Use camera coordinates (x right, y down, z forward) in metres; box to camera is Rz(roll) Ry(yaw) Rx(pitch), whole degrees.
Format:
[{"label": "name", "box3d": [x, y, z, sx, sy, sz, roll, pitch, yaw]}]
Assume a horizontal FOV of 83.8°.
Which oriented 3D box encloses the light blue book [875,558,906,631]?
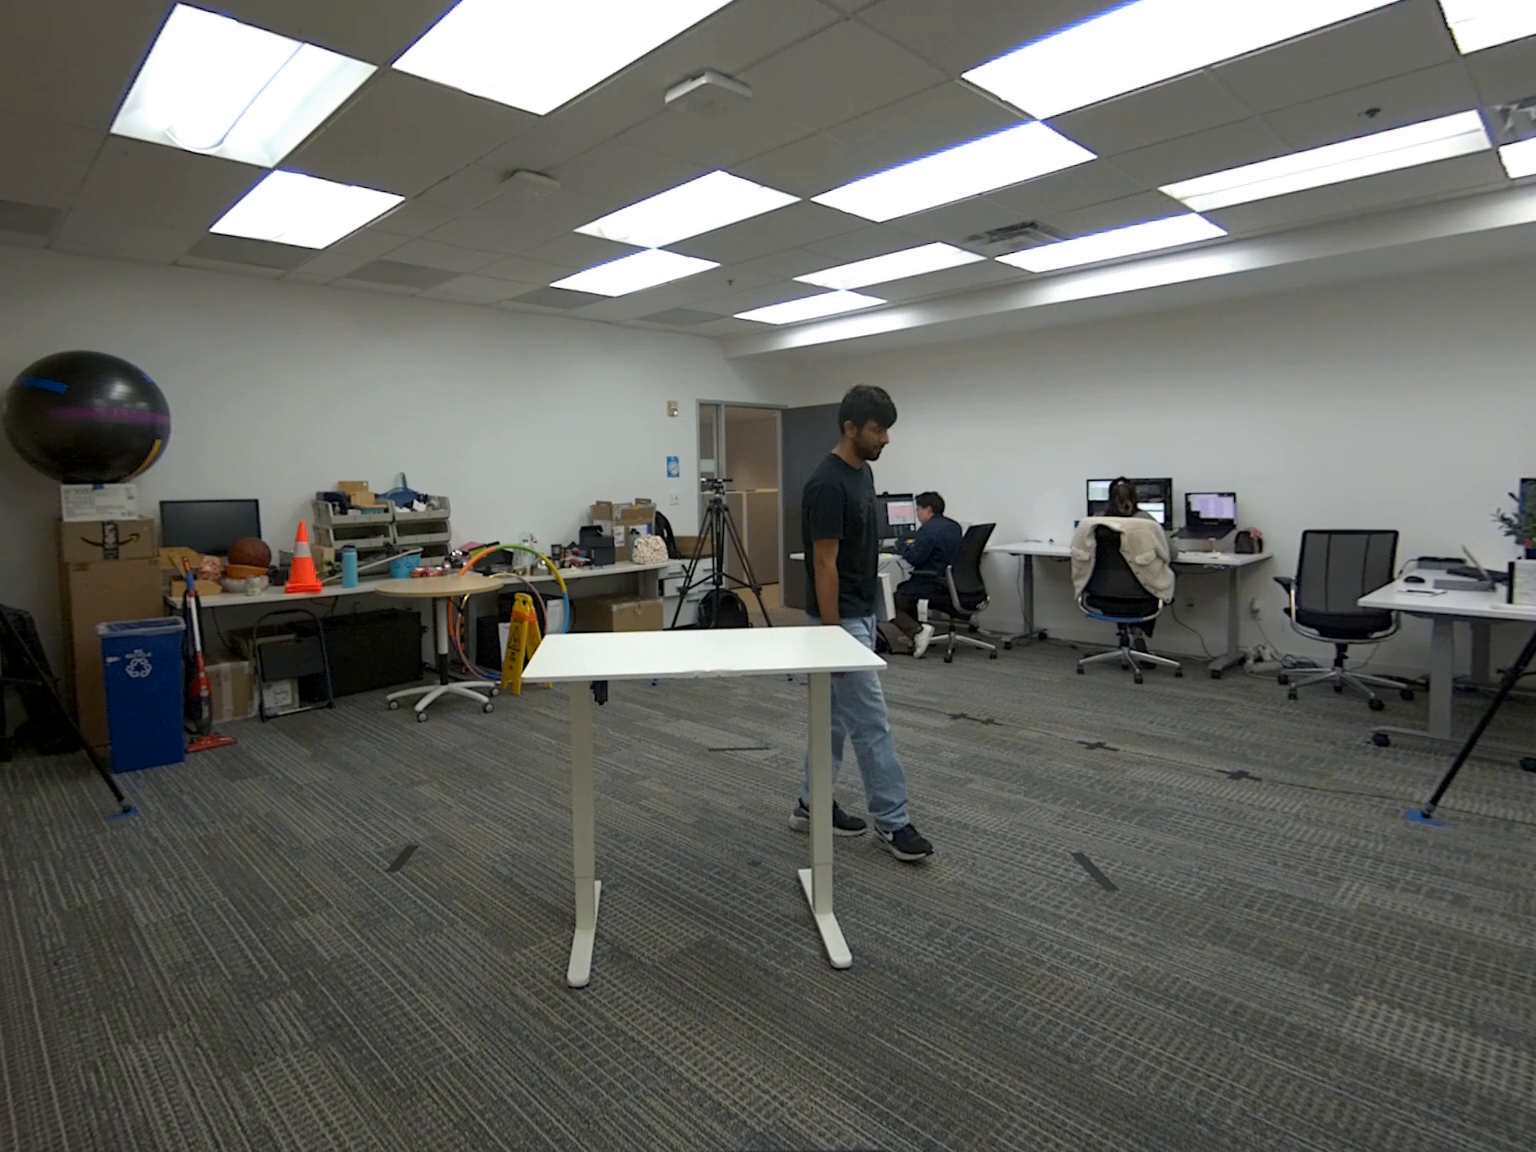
[{"label": "light blue book", "box3d": [0.381, 0.069, 3.433, 0.058, 0.189, 0.269, -21, 18, -41]}]
